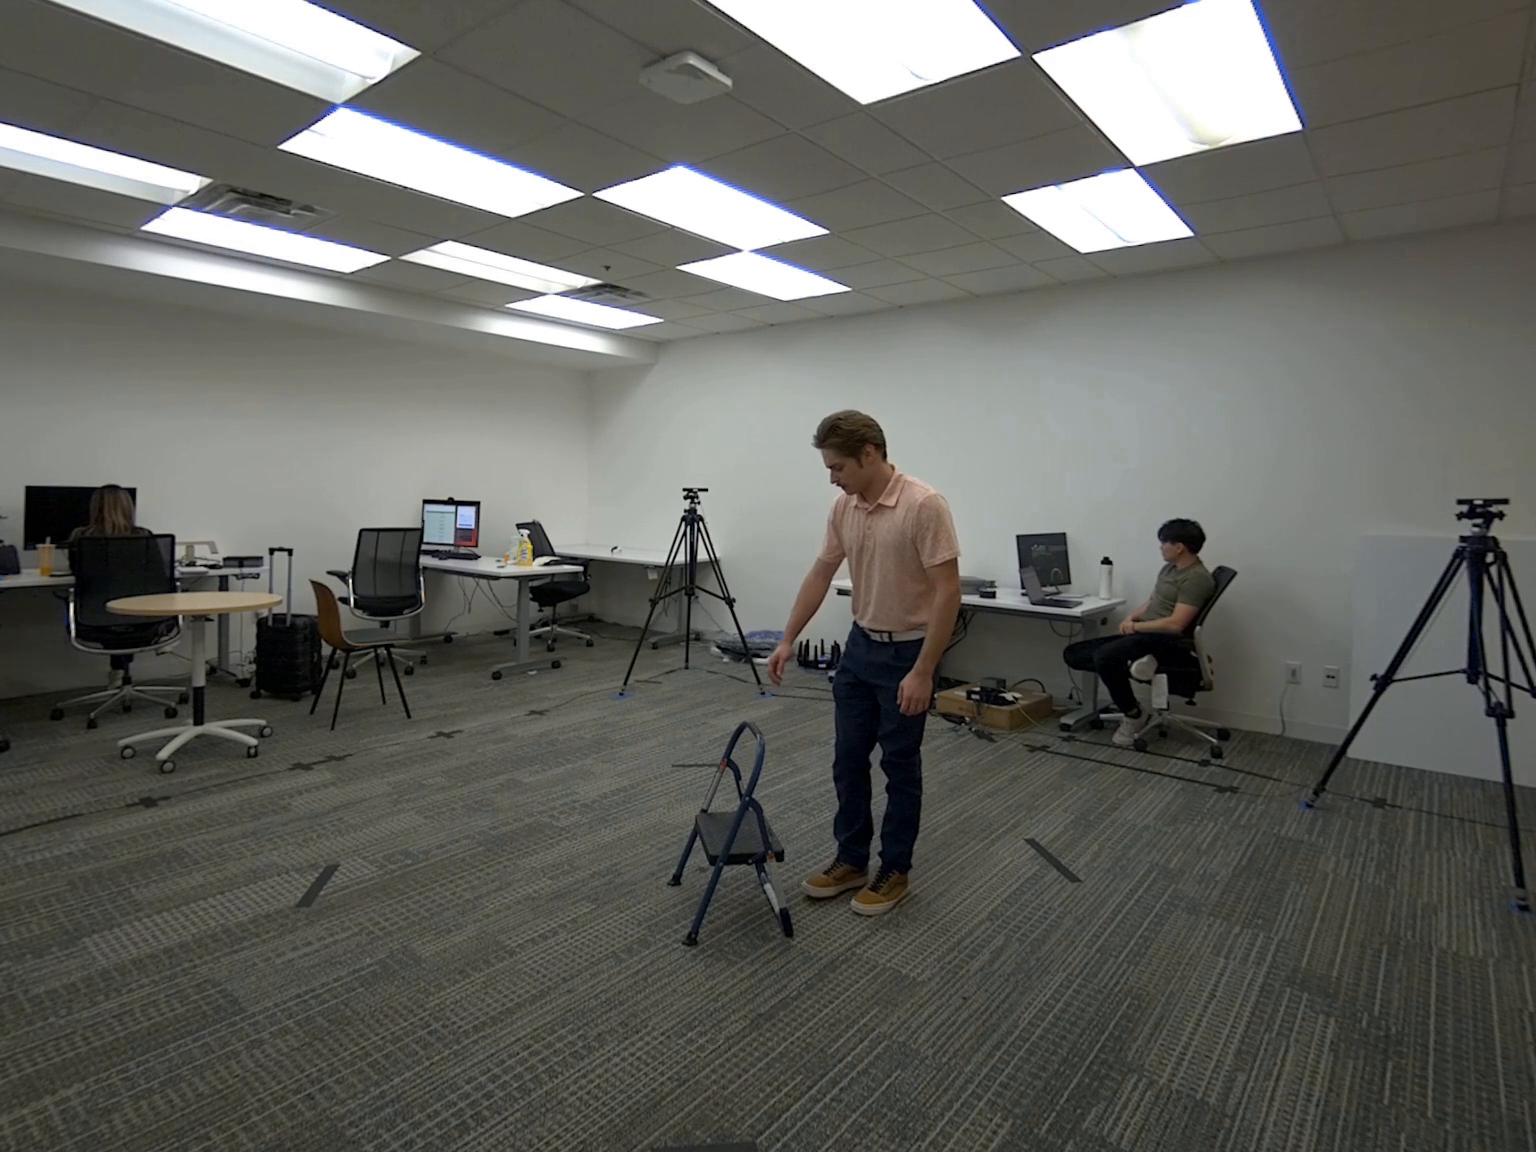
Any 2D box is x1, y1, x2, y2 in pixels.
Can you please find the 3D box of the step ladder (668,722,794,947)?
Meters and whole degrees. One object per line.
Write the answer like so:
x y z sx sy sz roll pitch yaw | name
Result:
-0.128 0.807 2.802 0.345 0.604 0.437 0 4 -13 | step ladder
